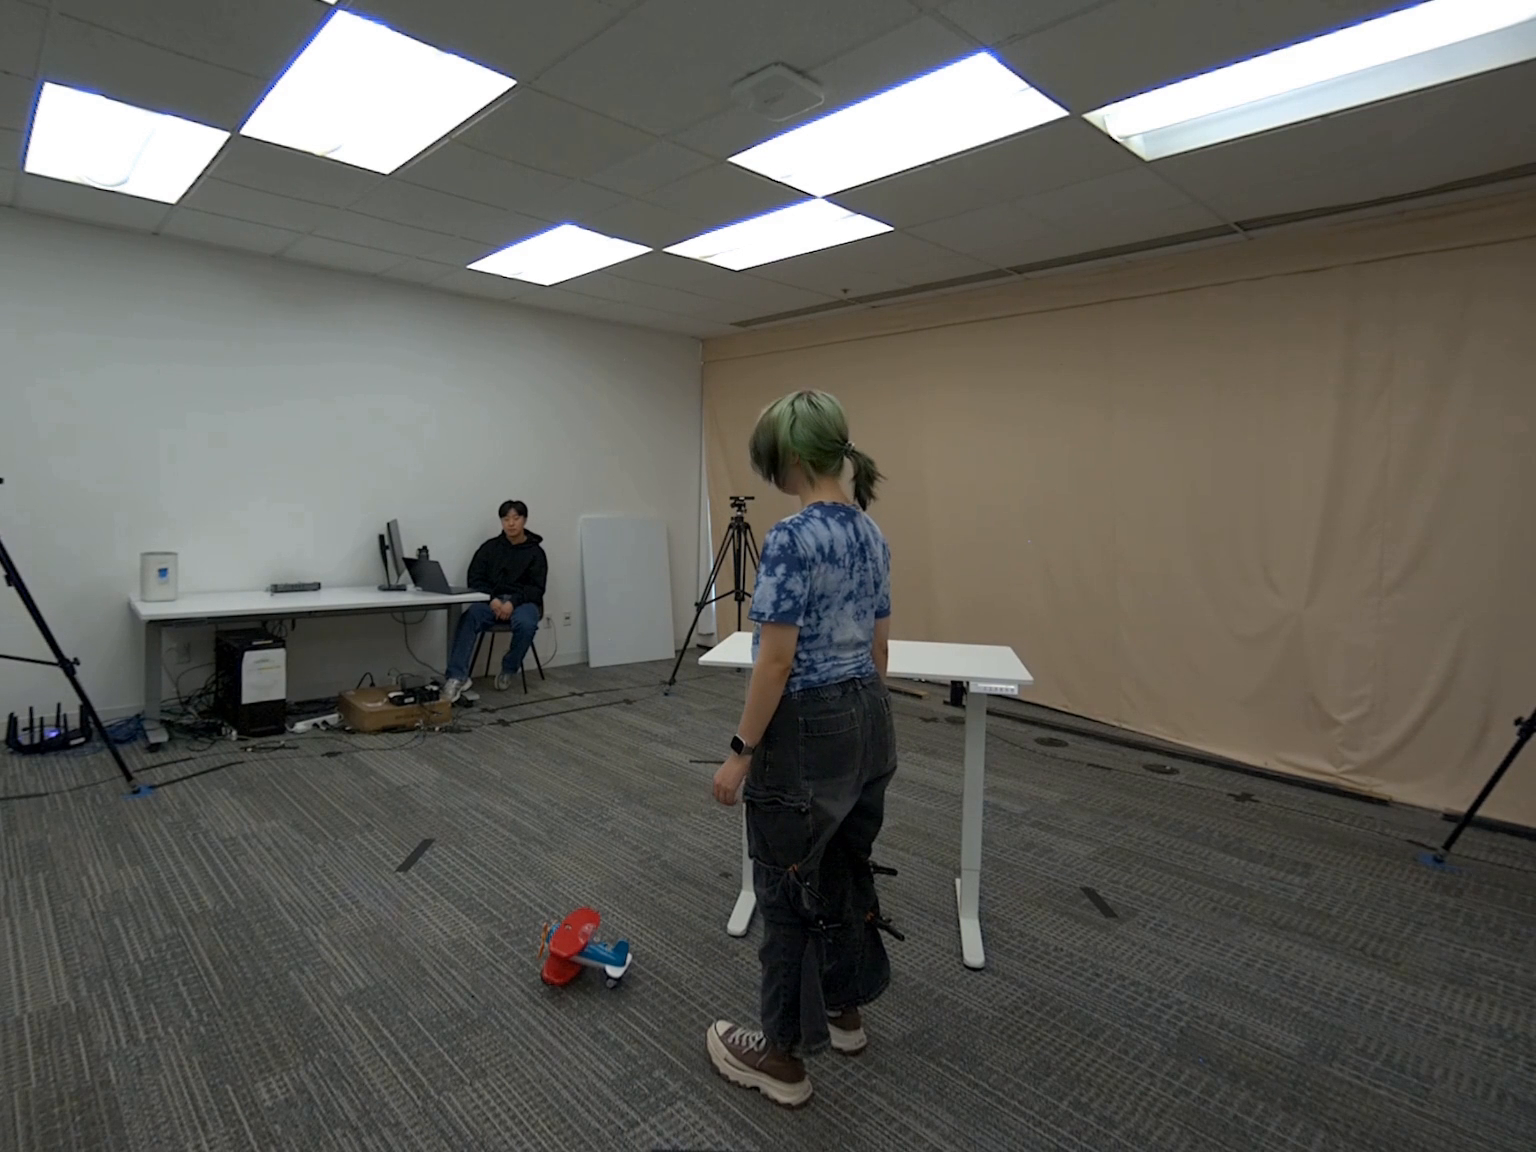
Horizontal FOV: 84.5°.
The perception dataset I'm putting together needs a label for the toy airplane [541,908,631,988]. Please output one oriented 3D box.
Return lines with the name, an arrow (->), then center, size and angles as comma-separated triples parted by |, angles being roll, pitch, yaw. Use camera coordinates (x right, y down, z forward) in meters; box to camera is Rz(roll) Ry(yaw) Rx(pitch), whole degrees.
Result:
toy airplane -> -0.532, 1.085, 2.427 | 0.256, 0.156, 0.255 | -1, 5, -18
